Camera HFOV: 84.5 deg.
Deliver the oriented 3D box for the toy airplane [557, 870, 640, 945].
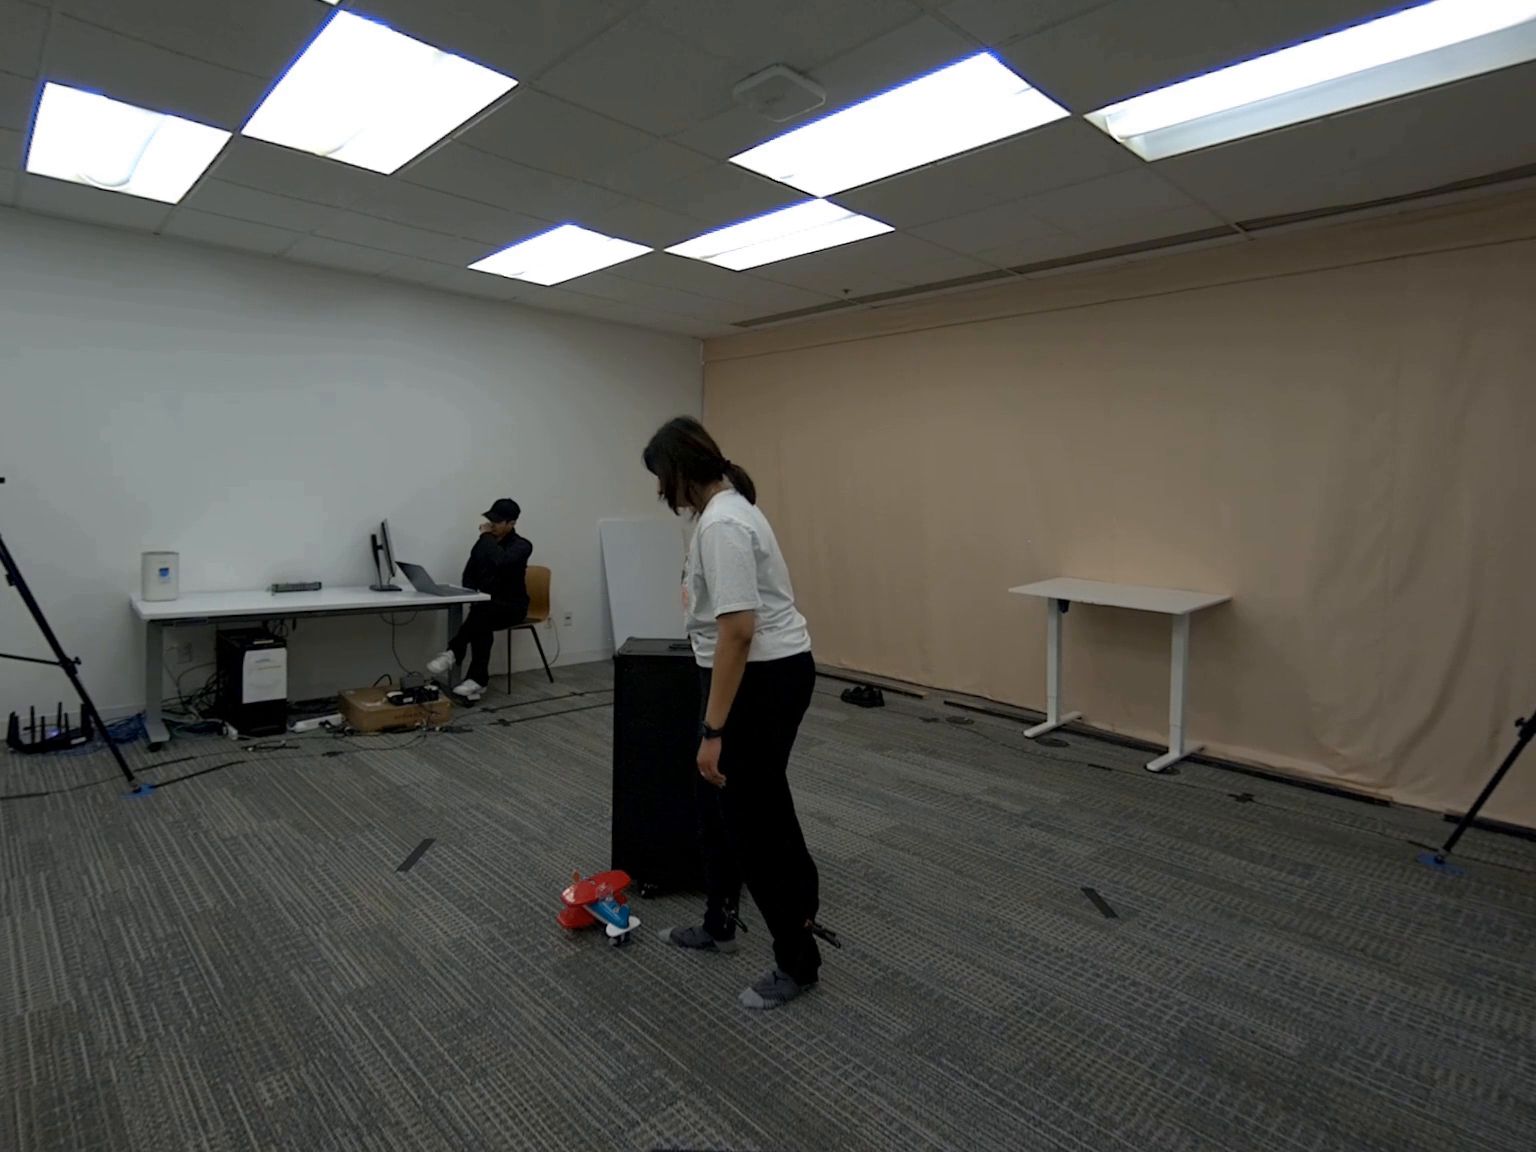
[{"bbox_3d":[-0.541,1.067,2.688,0.262,0.156,0.249,1,5,14],"label":"toy airplane"}]
